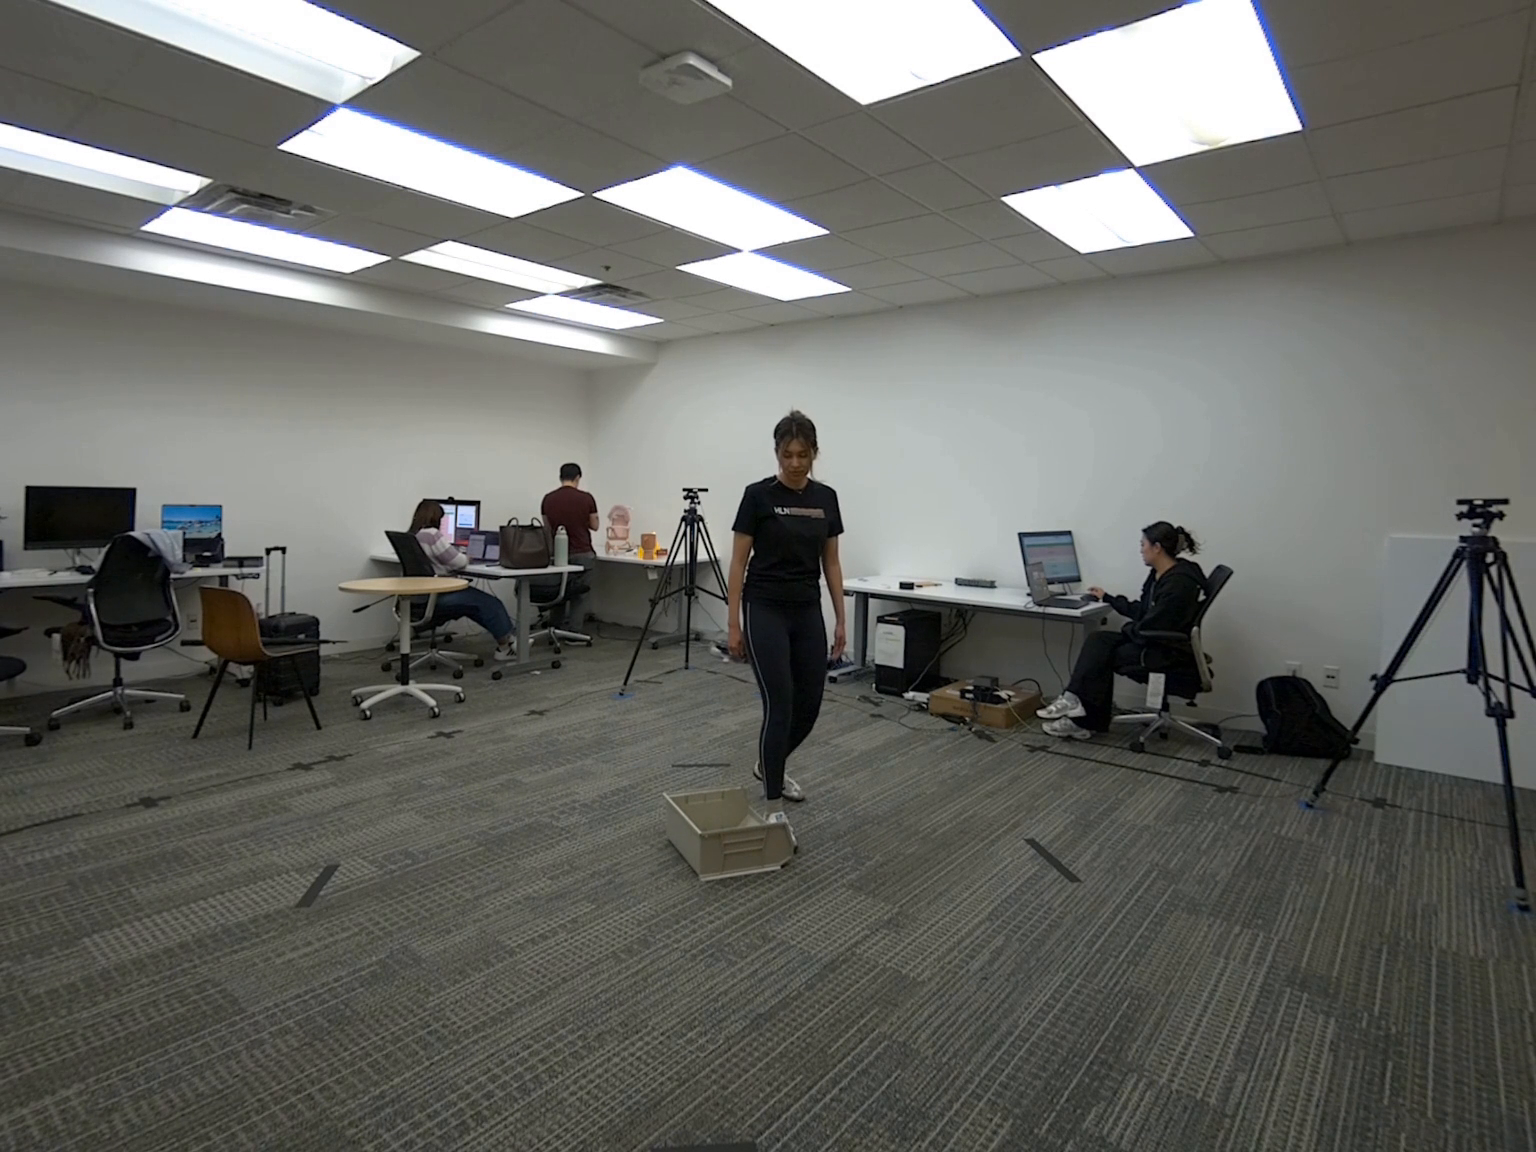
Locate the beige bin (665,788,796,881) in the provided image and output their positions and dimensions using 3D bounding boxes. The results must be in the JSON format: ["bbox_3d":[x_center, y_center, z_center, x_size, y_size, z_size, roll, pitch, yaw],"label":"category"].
[{"bbox_3d":[-0.170,0.966,3.258,0.369,0.188,0.434,-3,7,-24],"label":"beige bin"}]
